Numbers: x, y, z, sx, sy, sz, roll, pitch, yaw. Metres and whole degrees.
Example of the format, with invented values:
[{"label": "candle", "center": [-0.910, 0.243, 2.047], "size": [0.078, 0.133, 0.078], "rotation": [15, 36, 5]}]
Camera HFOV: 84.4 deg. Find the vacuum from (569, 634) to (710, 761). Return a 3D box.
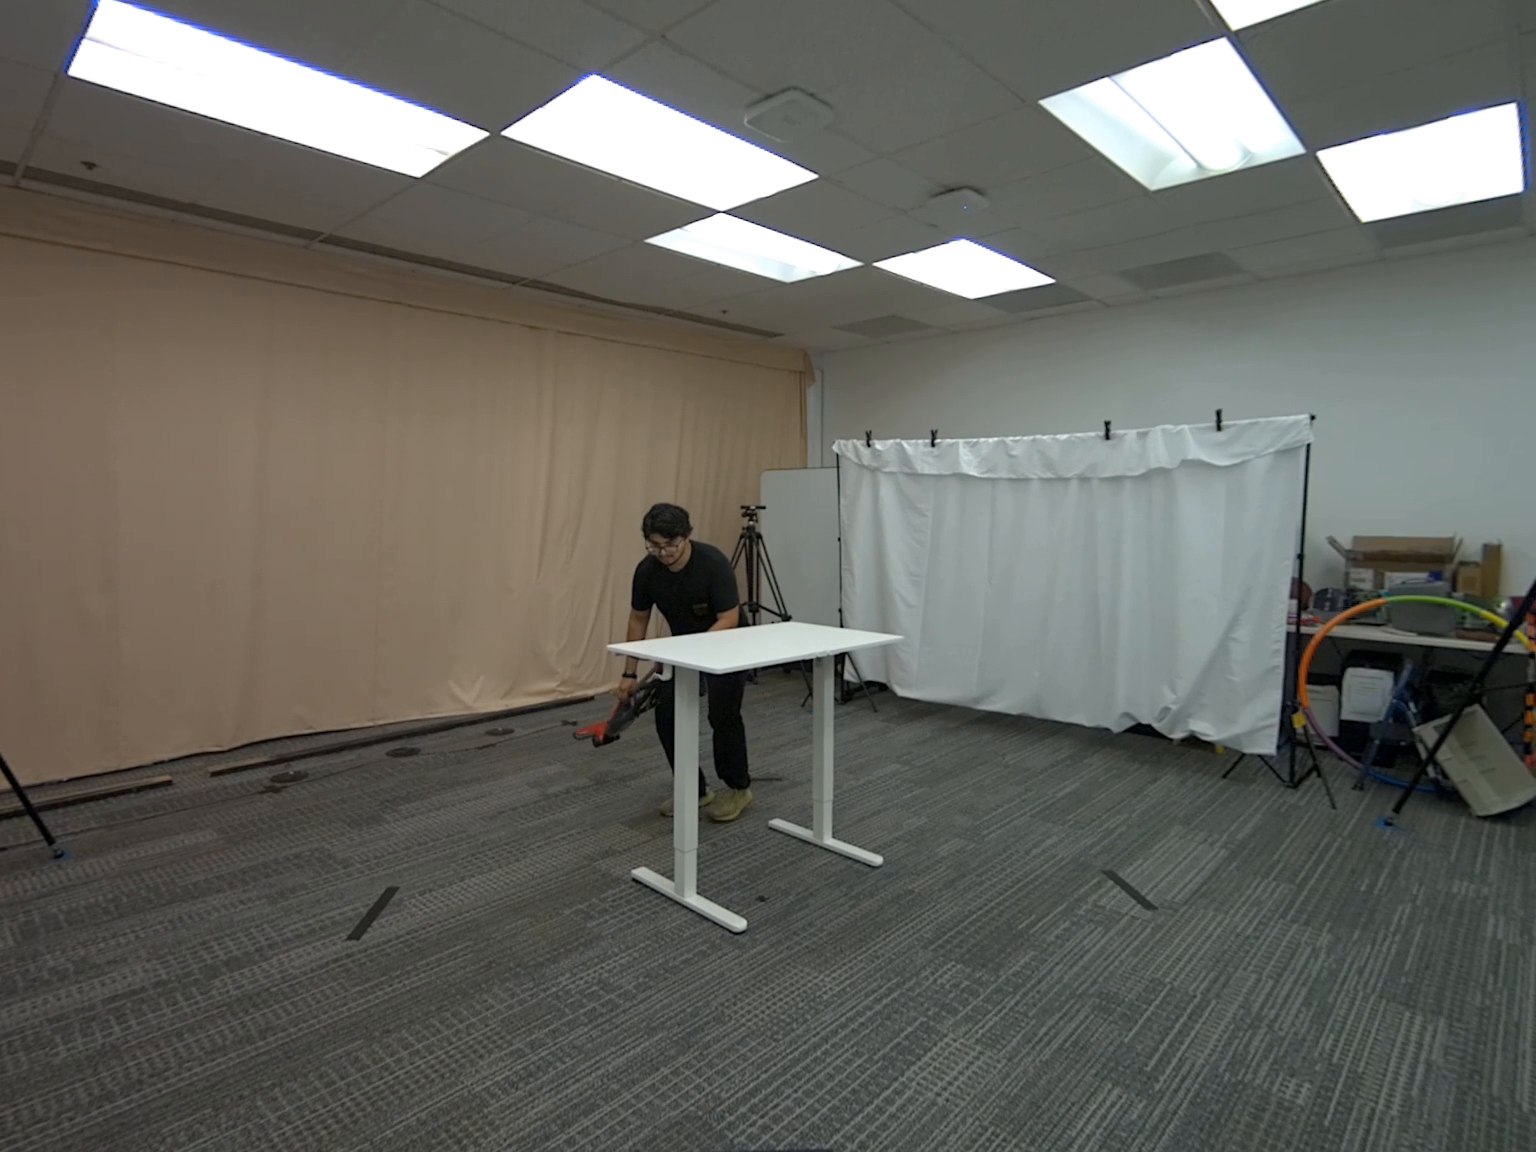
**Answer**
[{"label": "vacuum", "center": [-0.605, 0.563, 3.785], "size": [0.247, 0.146, 1.058], "rotation": [-24, -12, -37]}]
